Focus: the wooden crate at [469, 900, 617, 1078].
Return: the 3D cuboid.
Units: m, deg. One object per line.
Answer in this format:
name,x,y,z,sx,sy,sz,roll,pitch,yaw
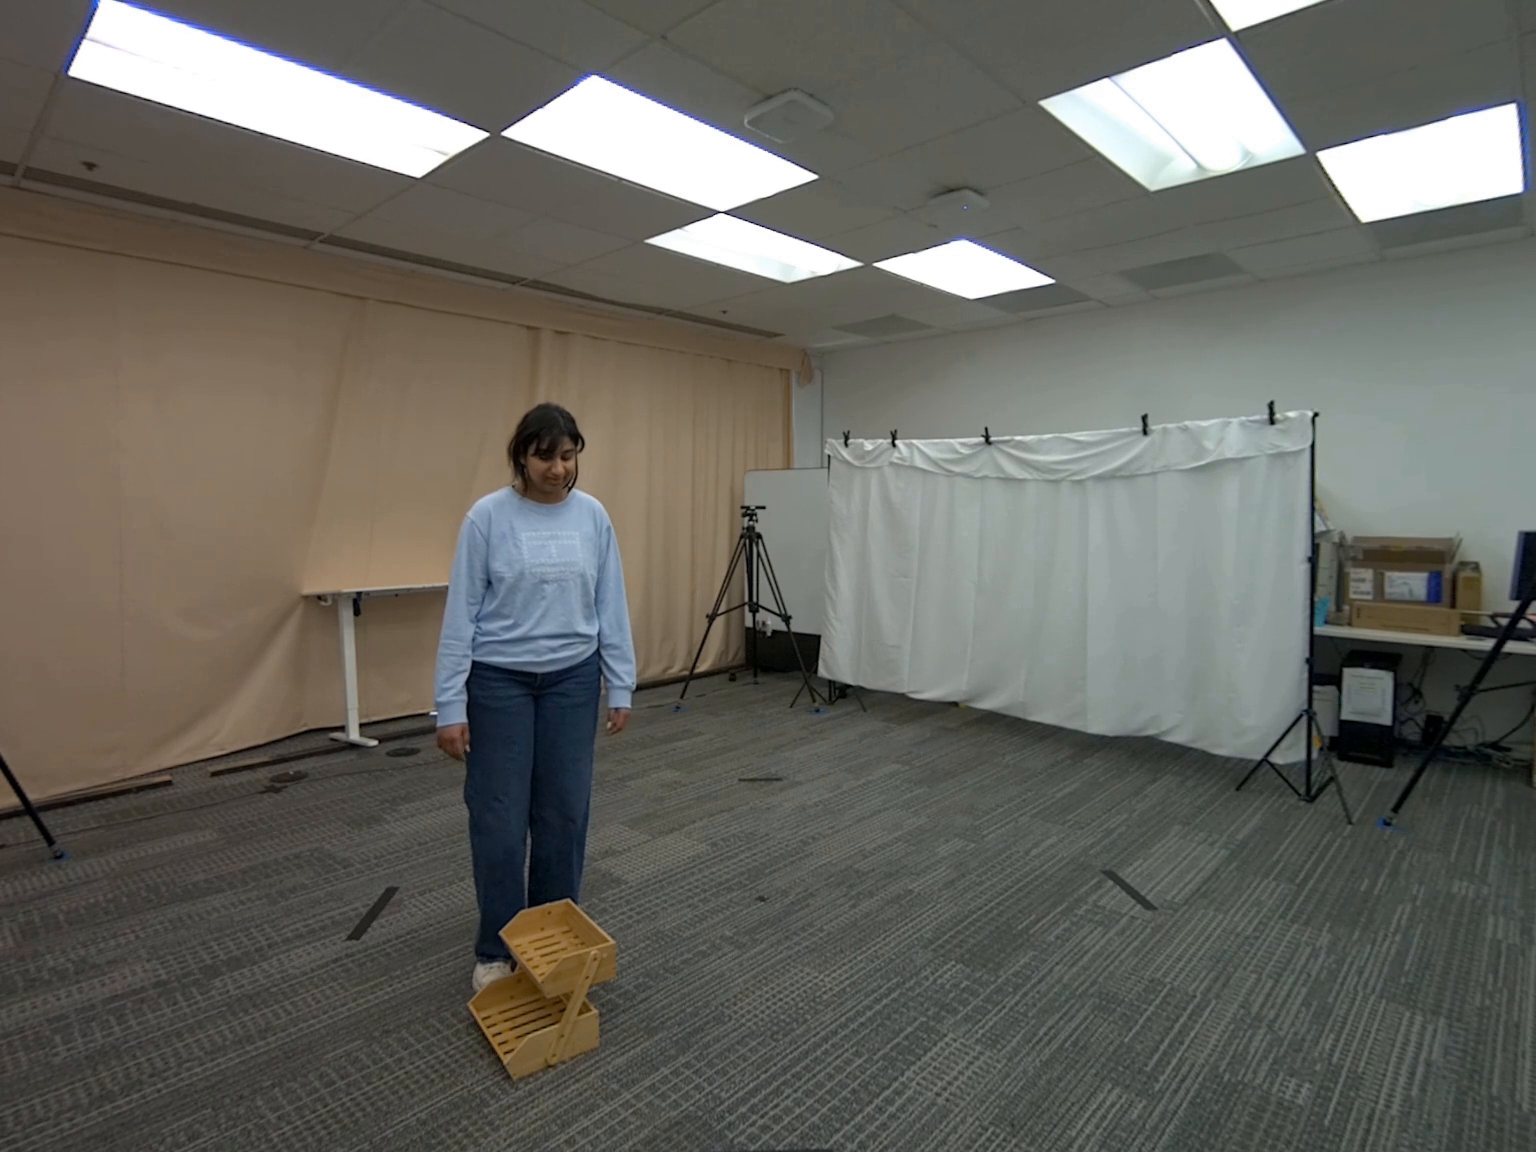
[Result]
wooden crate,-0.612,1.083,2.224,0.293,0.273,0.335,-3,4,-36
